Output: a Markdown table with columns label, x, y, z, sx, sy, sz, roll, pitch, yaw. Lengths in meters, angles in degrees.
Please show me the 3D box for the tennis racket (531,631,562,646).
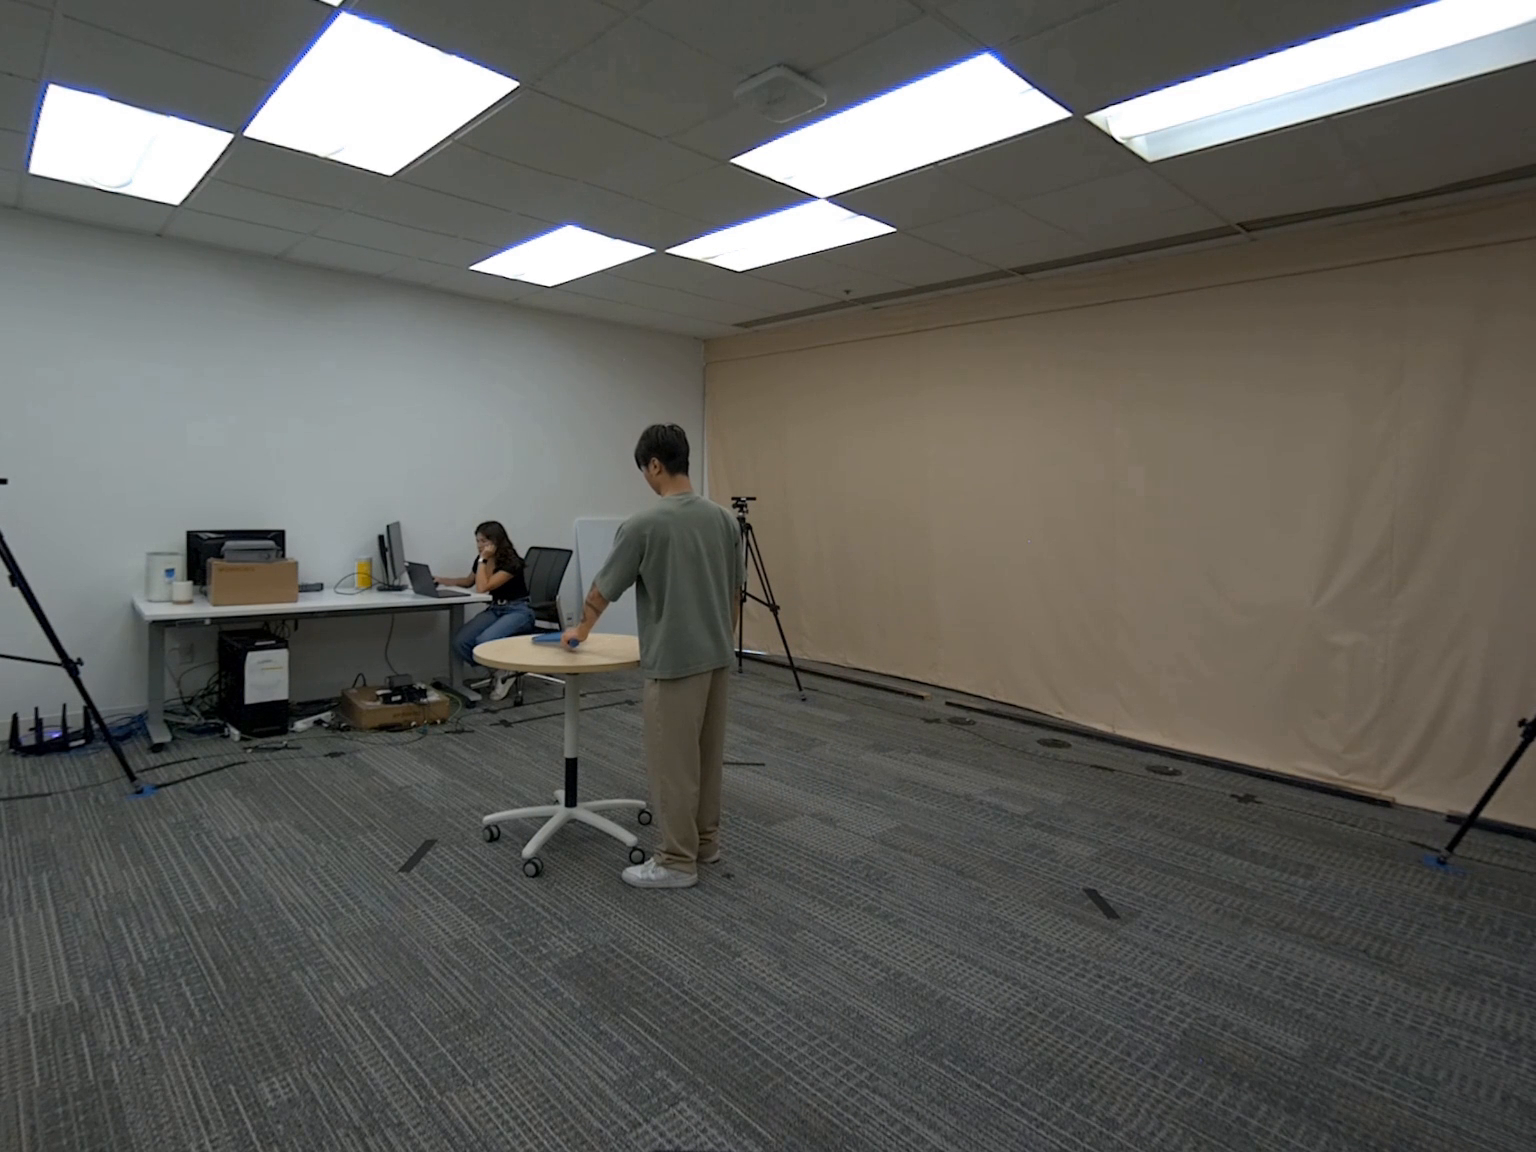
| label | x | y | z | sx | sy | sz | roll | pitch | yaw |
| --- | --- | --- | --- | --- | --- | --- | --- | --- | --- |
| tennis racket | -0.841 | 0.249 | 3.404 | 0.210 | 0.032 | 0.440 | -7 | 4 | -24 |
